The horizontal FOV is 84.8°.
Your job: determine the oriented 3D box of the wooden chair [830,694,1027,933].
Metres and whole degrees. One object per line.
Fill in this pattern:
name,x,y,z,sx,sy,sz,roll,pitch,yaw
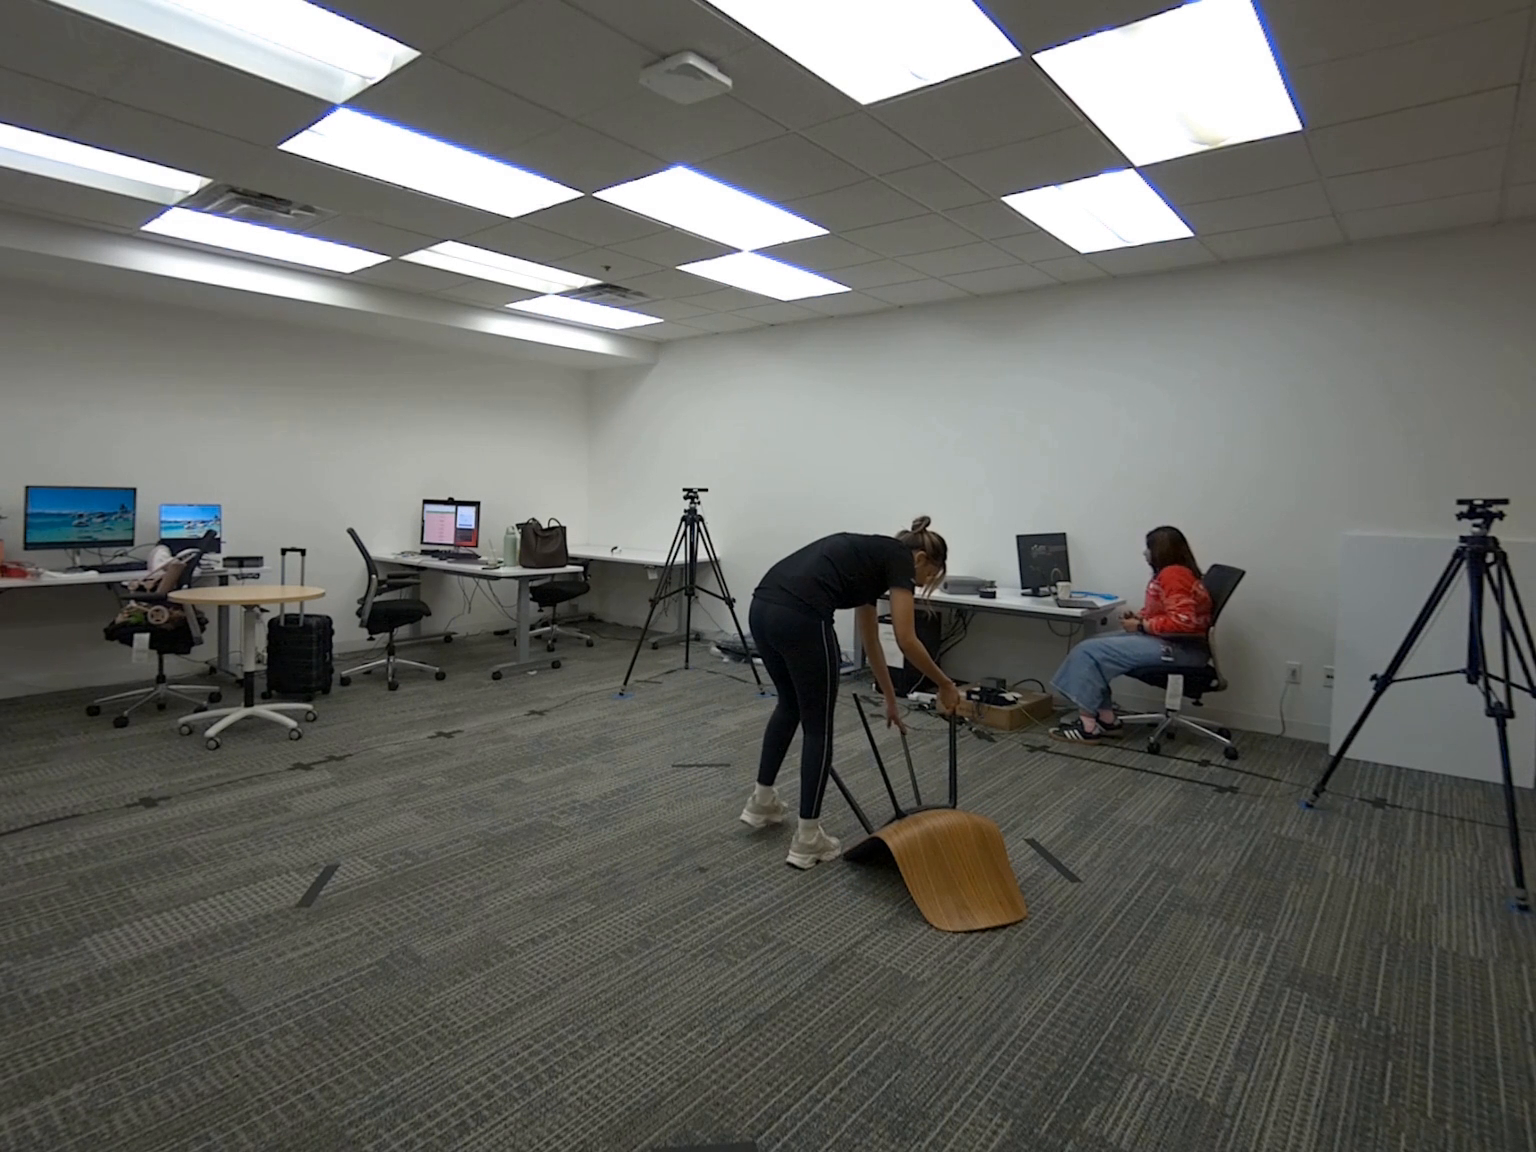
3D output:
wooden chair,0.539,0.913,3.160,0.468,0.907,0.517,-1,-36,-23
